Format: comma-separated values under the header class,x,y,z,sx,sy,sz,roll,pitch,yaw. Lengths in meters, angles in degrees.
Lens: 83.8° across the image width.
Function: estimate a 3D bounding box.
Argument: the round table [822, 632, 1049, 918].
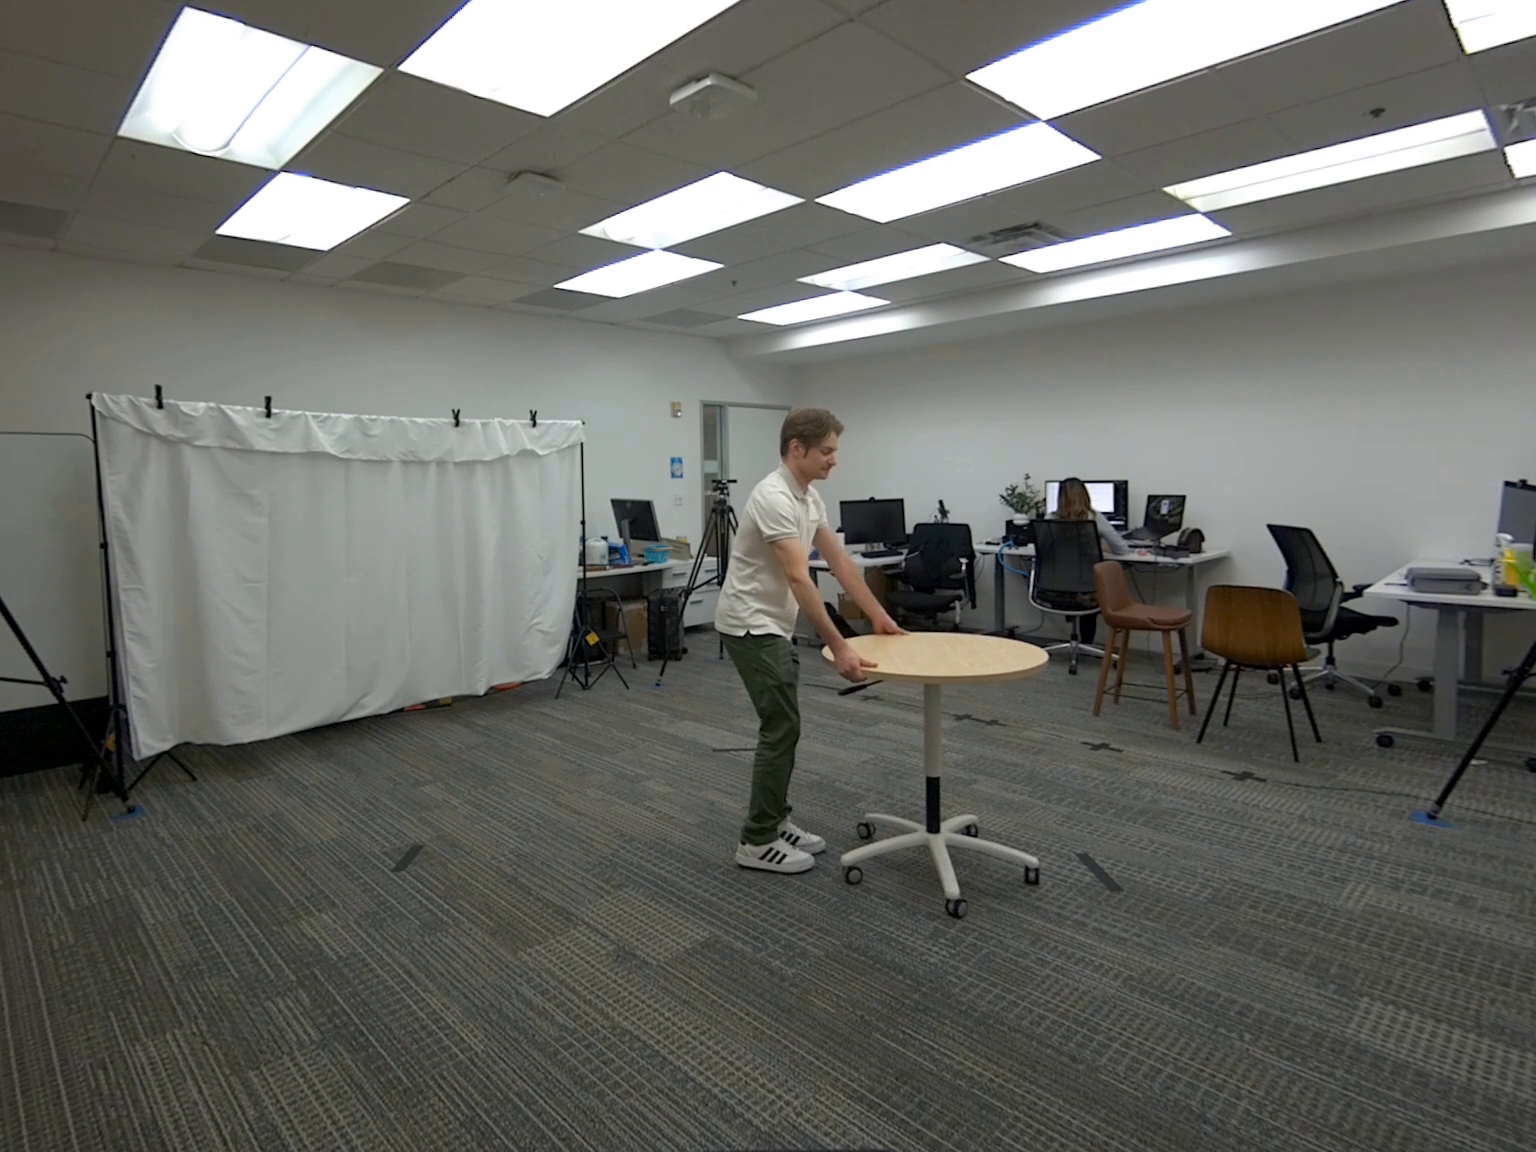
class,x,y,z,sx,sy,sz,roll,pitch,yaw
round table,0.581,0.657,3.010,0.763,0.791,0.768,-2,5,-2
